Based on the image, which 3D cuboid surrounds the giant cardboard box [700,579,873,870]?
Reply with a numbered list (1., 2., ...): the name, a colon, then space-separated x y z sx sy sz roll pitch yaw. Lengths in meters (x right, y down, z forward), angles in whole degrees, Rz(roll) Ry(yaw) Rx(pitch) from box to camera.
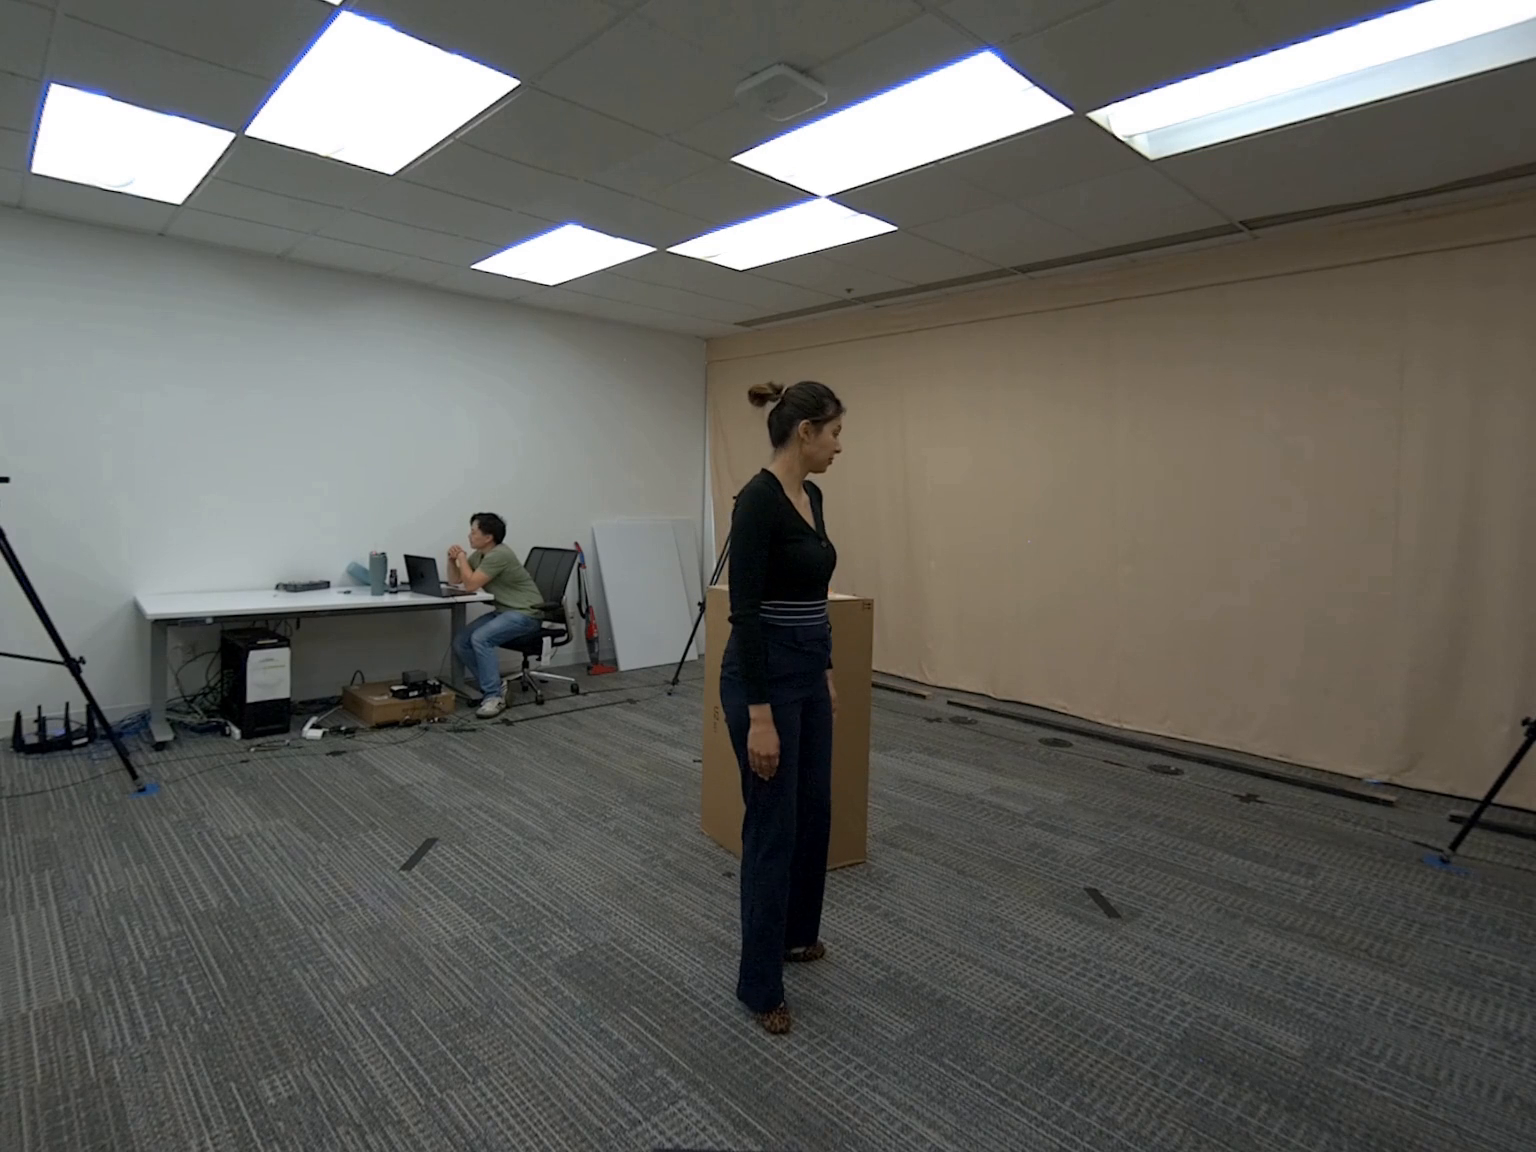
1. giant cardboard box: 0.055 0.577 3.360 0.417 1.024 0.591 0 3 -33
